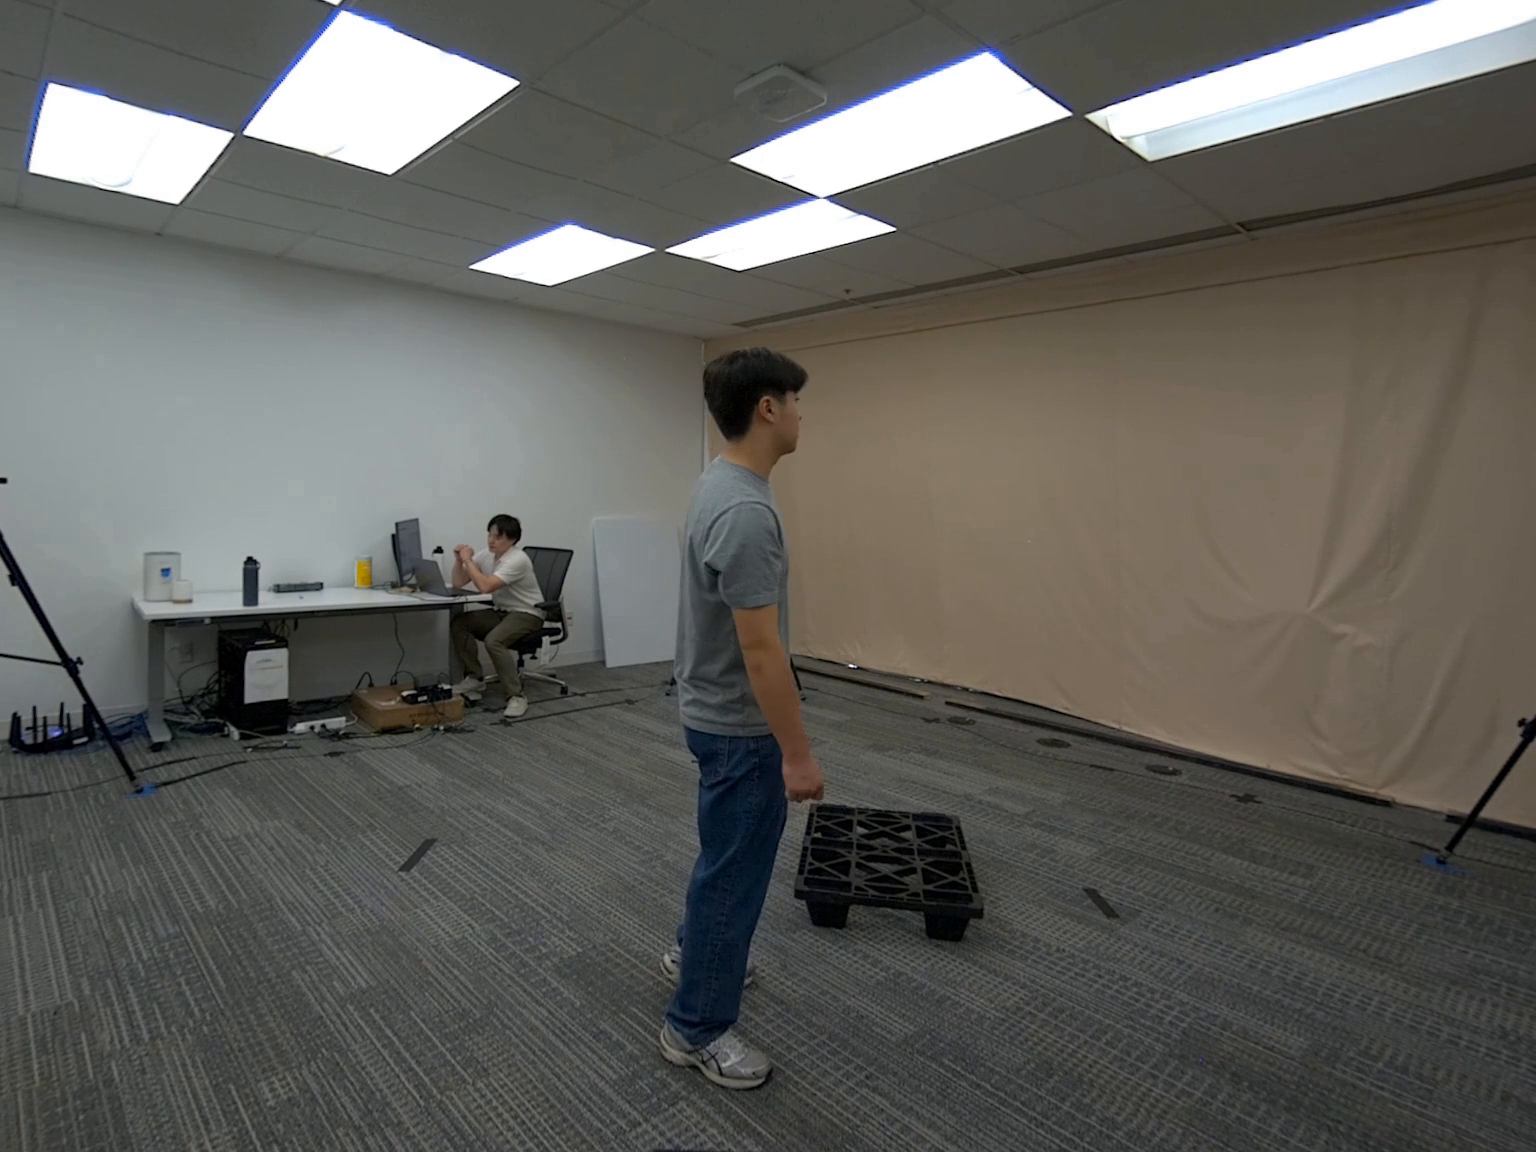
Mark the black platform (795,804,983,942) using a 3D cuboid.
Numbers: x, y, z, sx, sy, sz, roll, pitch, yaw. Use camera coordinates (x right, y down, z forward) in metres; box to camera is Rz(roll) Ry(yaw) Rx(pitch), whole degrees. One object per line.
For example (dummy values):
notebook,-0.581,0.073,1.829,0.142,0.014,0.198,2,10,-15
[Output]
black platform,0.413,1.053,3.062,0.609,0.143,0.802,2,5,8
